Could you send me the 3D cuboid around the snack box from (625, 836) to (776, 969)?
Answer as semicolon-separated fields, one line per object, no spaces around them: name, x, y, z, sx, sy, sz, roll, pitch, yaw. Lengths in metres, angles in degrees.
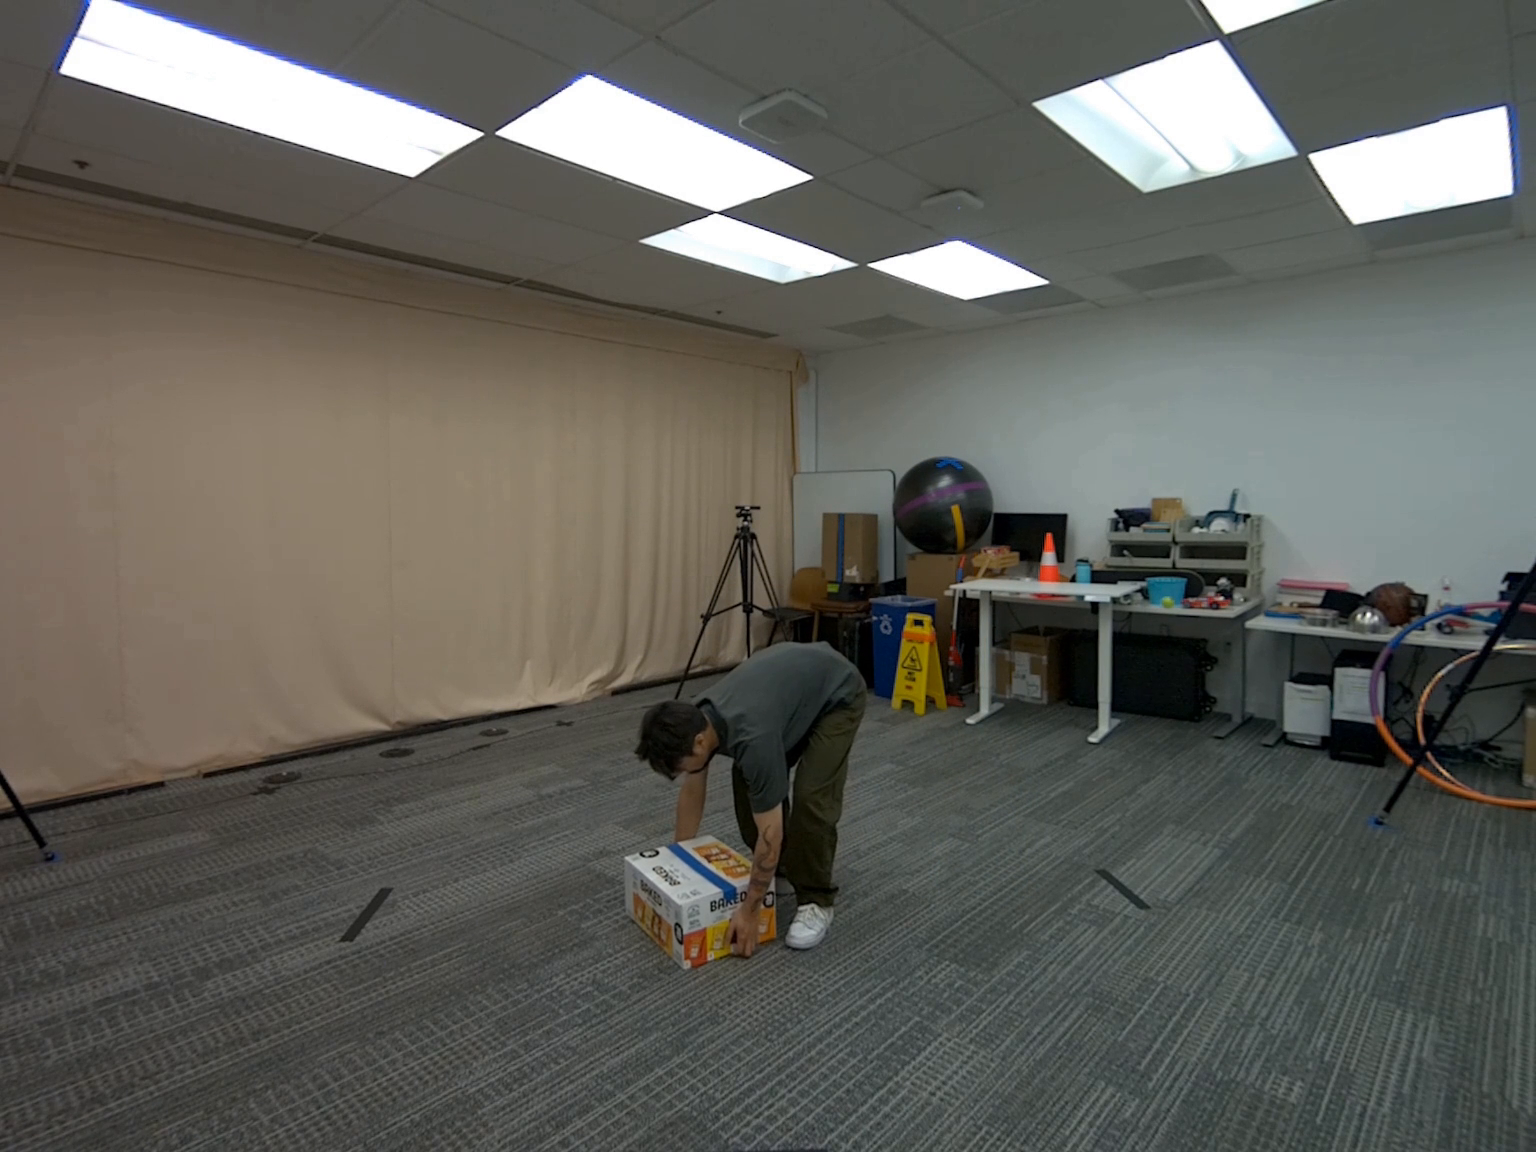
snack box;-0.228;1.052;2.779;0.331;0.205;0.418;-4;7;-32
